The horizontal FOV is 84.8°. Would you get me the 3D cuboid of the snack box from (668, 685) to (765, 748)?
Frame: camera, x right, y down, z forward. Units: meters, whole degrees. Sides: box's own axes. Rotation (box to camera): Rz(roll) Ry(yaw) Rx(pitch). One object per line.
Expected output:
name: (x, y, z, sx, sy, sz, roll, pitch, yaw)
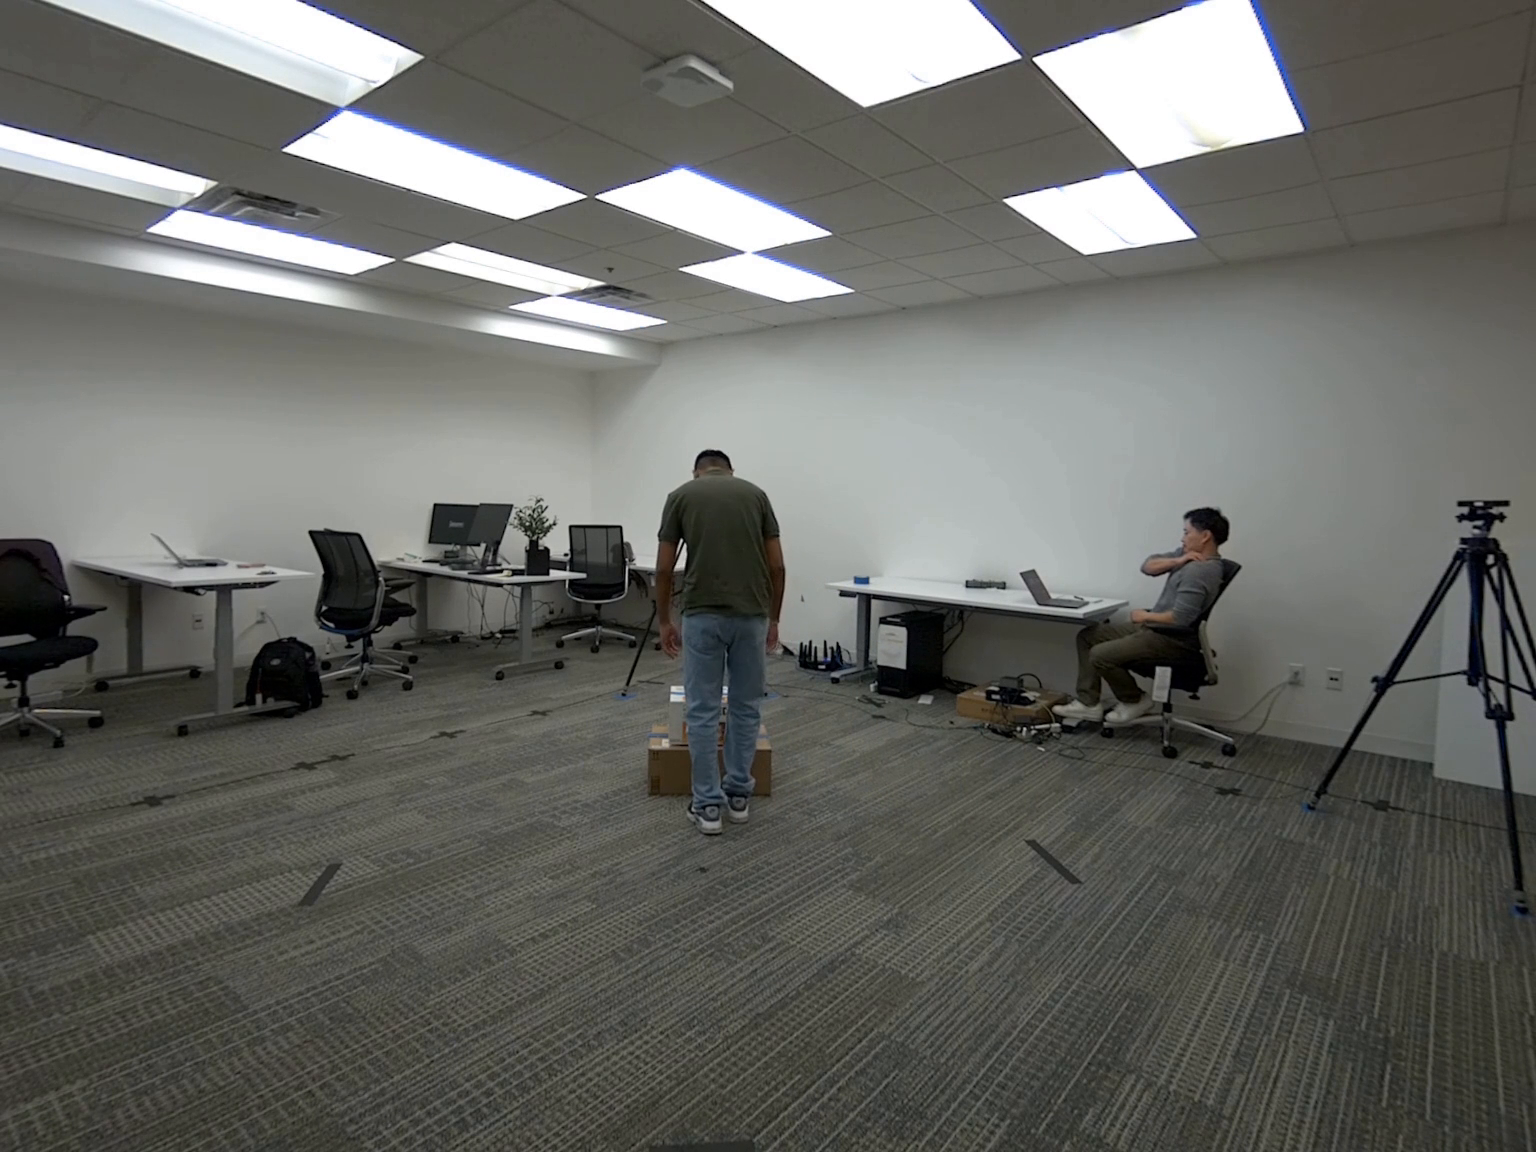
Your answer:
snack box: (-0.277, 0.659, 4.076, 0.404, 0.205, 0.343, 1, 4, -4)
